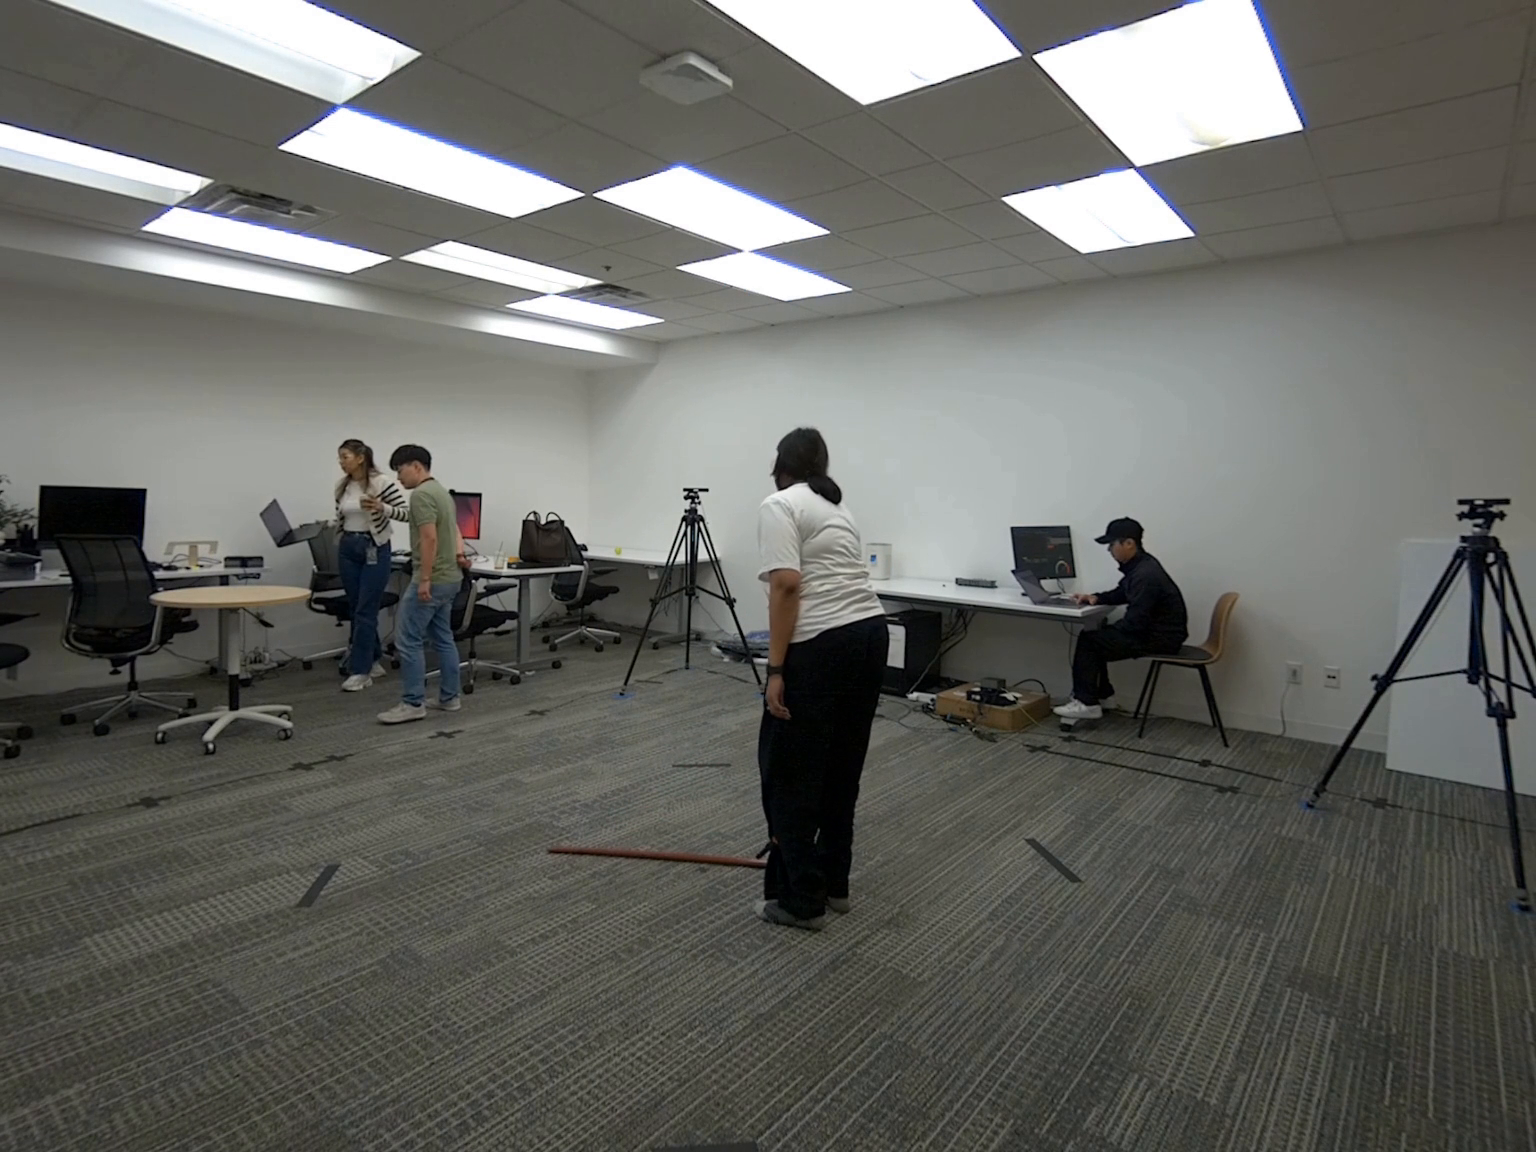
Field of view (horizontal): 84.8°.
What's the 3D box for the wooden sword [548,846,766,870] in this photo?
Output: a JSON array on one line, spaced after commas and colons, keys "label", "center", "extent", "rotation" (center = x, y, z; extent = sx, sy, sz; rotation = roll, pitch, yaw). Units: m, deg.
[{"label": "wooden sword", "center": [-0.333, 1.037, 3.173], "extent": [1.033, 0.024, 0.051], "rotation": [2, 2, 7]}]
